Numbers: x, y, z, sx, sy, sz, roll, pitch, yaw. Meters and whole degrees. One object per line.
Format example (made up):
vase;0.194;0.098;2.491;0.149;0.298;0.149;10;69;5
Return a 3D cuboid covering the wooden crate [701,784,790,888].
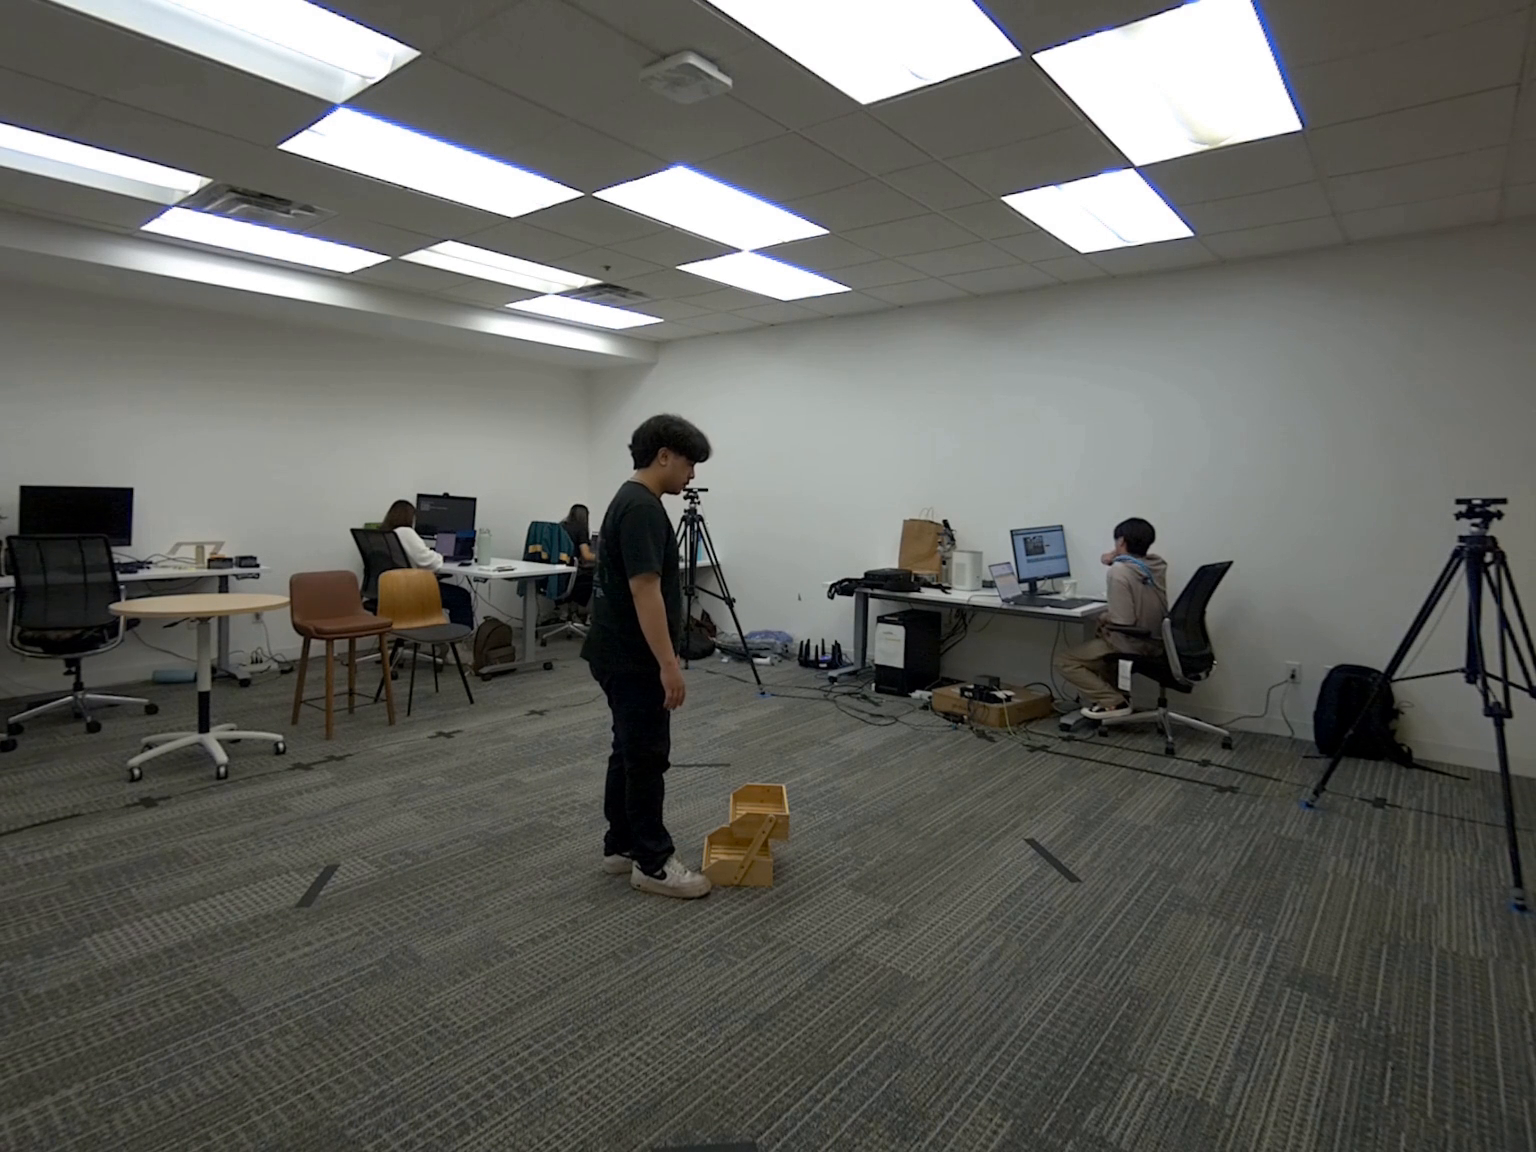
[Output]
wooden crate;-0.098;0.940;3.128;0.302;0.272;0.325;1;4;-1
